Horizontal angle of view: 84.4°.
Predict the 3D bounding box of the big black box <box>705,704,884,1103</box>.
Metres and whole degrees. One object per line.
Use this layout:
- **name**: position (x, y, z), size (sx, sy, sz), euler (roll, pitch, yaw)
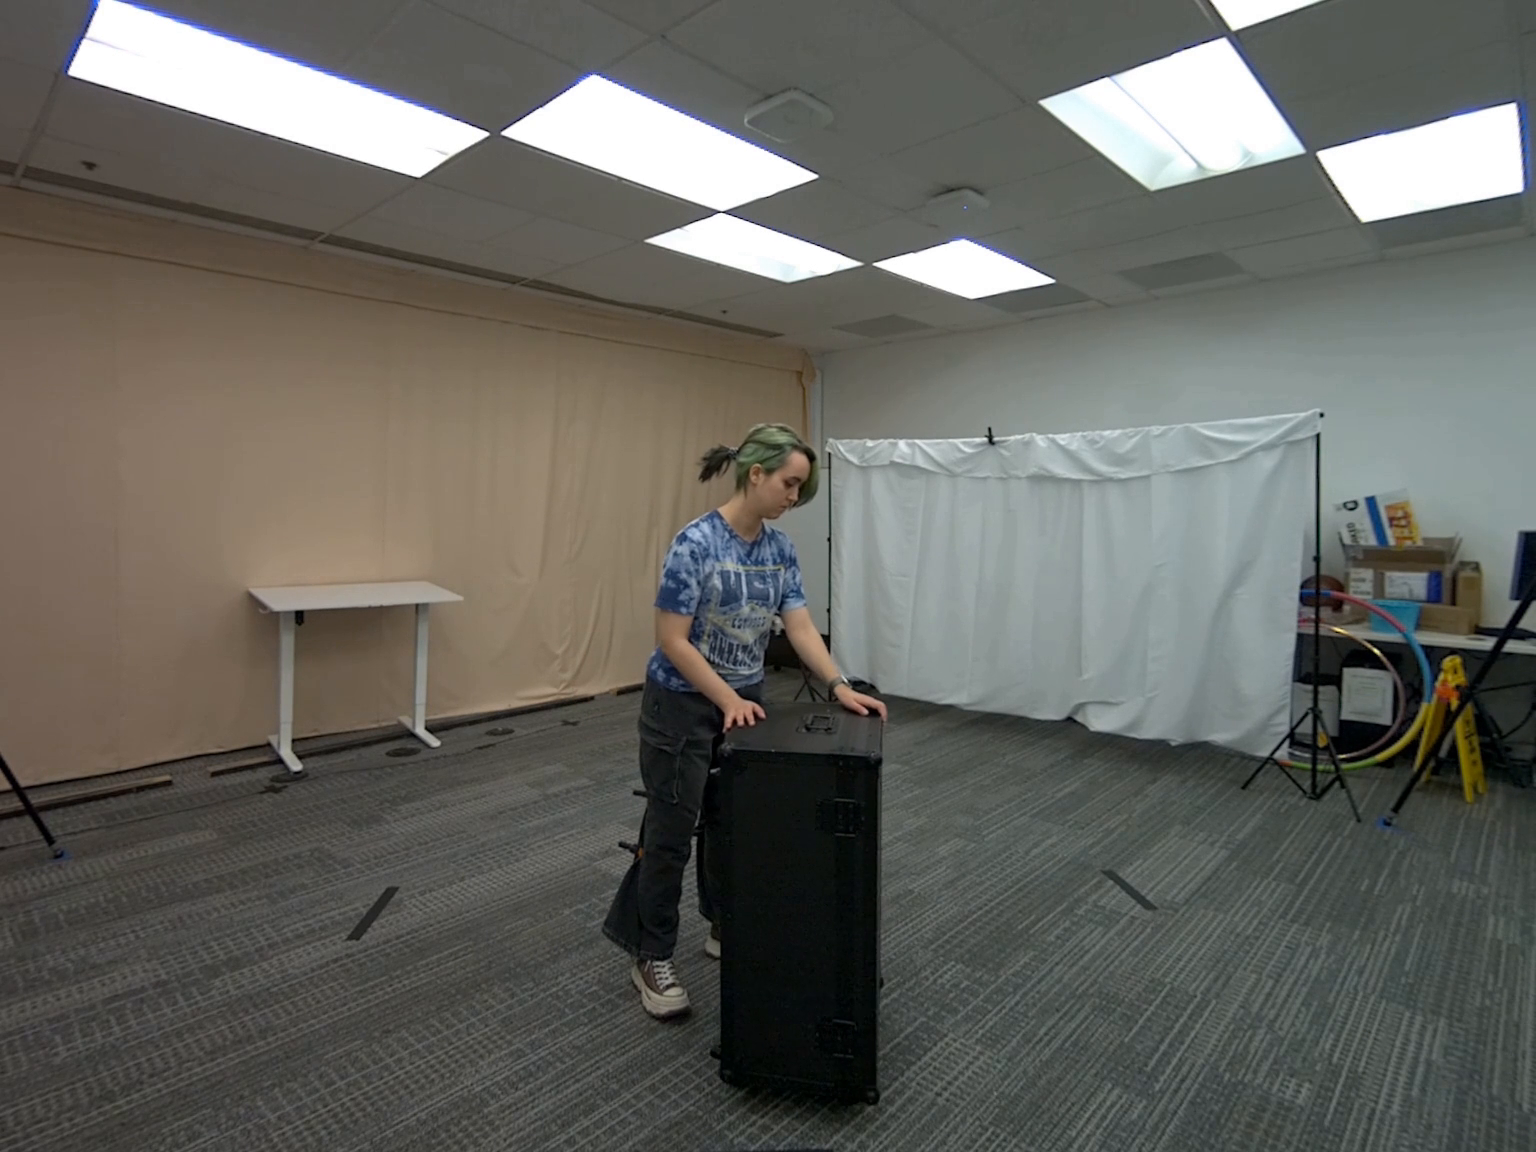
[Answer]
- **big black box**: position (0.101, 0.796, 2.097), size (0.402, 0.859, 0.515), euler (0, 3, 11)
